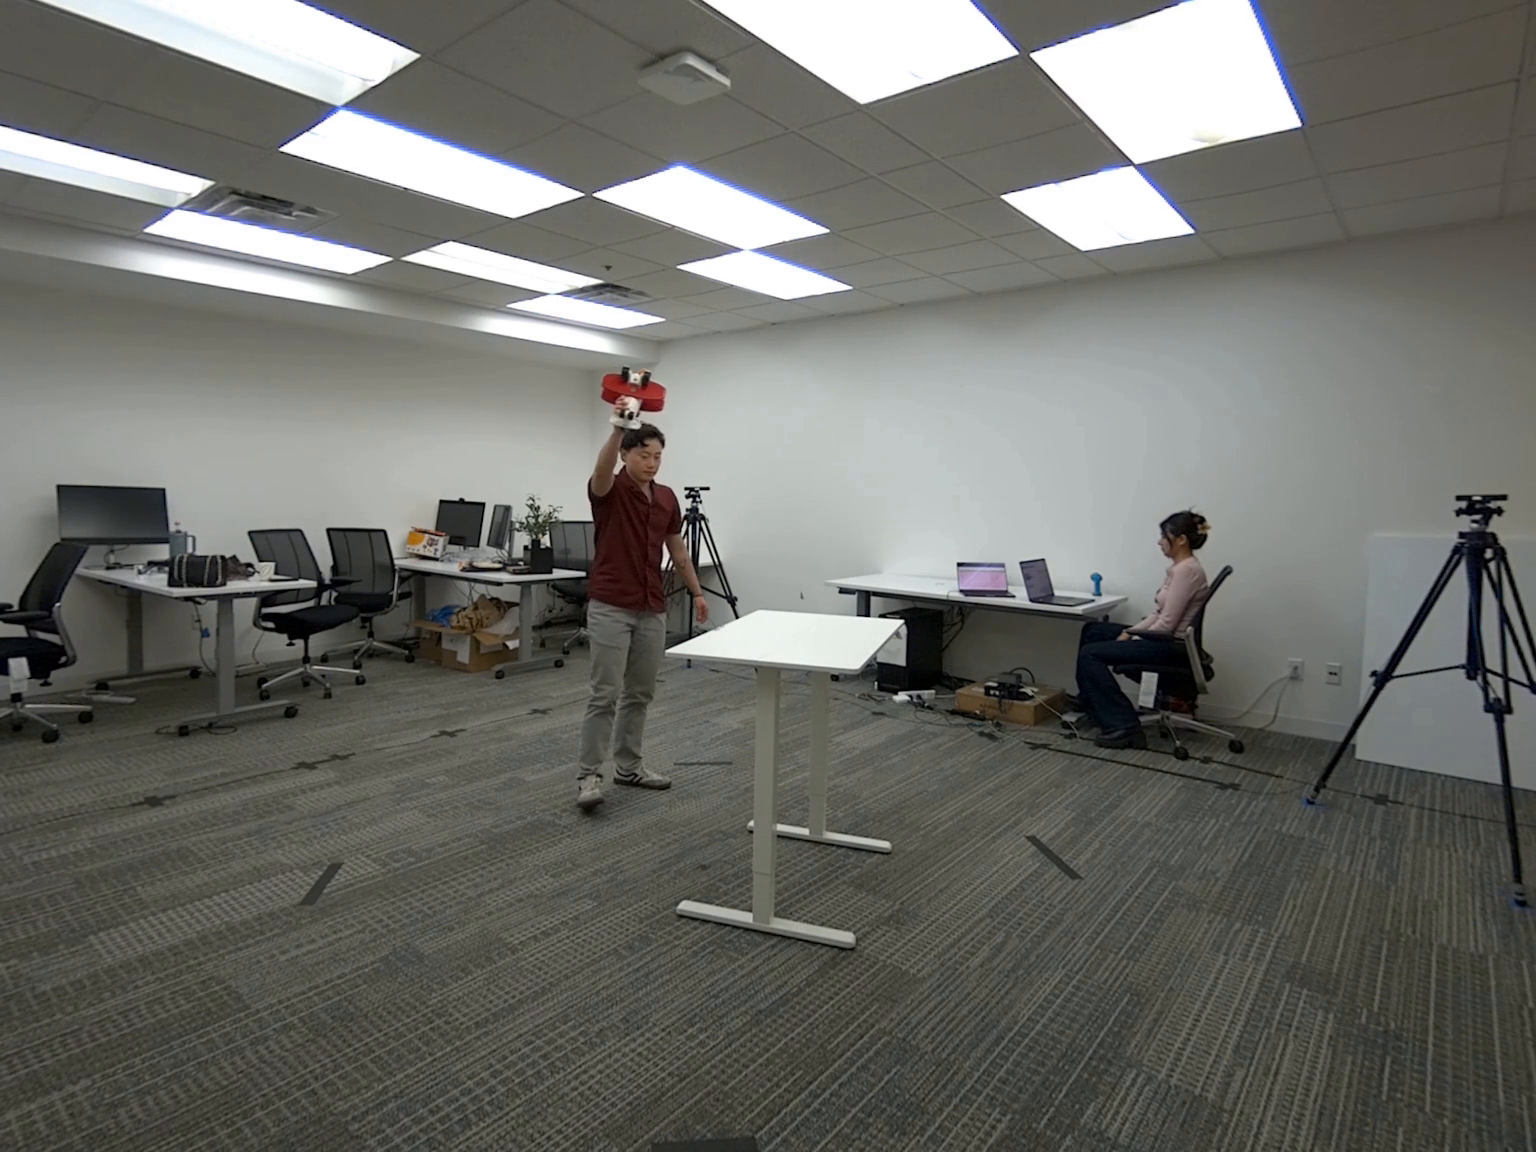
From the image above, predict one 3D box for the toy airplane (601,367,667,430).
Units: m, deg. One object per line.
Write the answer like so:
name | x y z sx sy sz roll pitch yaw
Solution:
toy airplane | -0.566 -0.704 3.355 0.253 0.259 0.155 38 -15 3
